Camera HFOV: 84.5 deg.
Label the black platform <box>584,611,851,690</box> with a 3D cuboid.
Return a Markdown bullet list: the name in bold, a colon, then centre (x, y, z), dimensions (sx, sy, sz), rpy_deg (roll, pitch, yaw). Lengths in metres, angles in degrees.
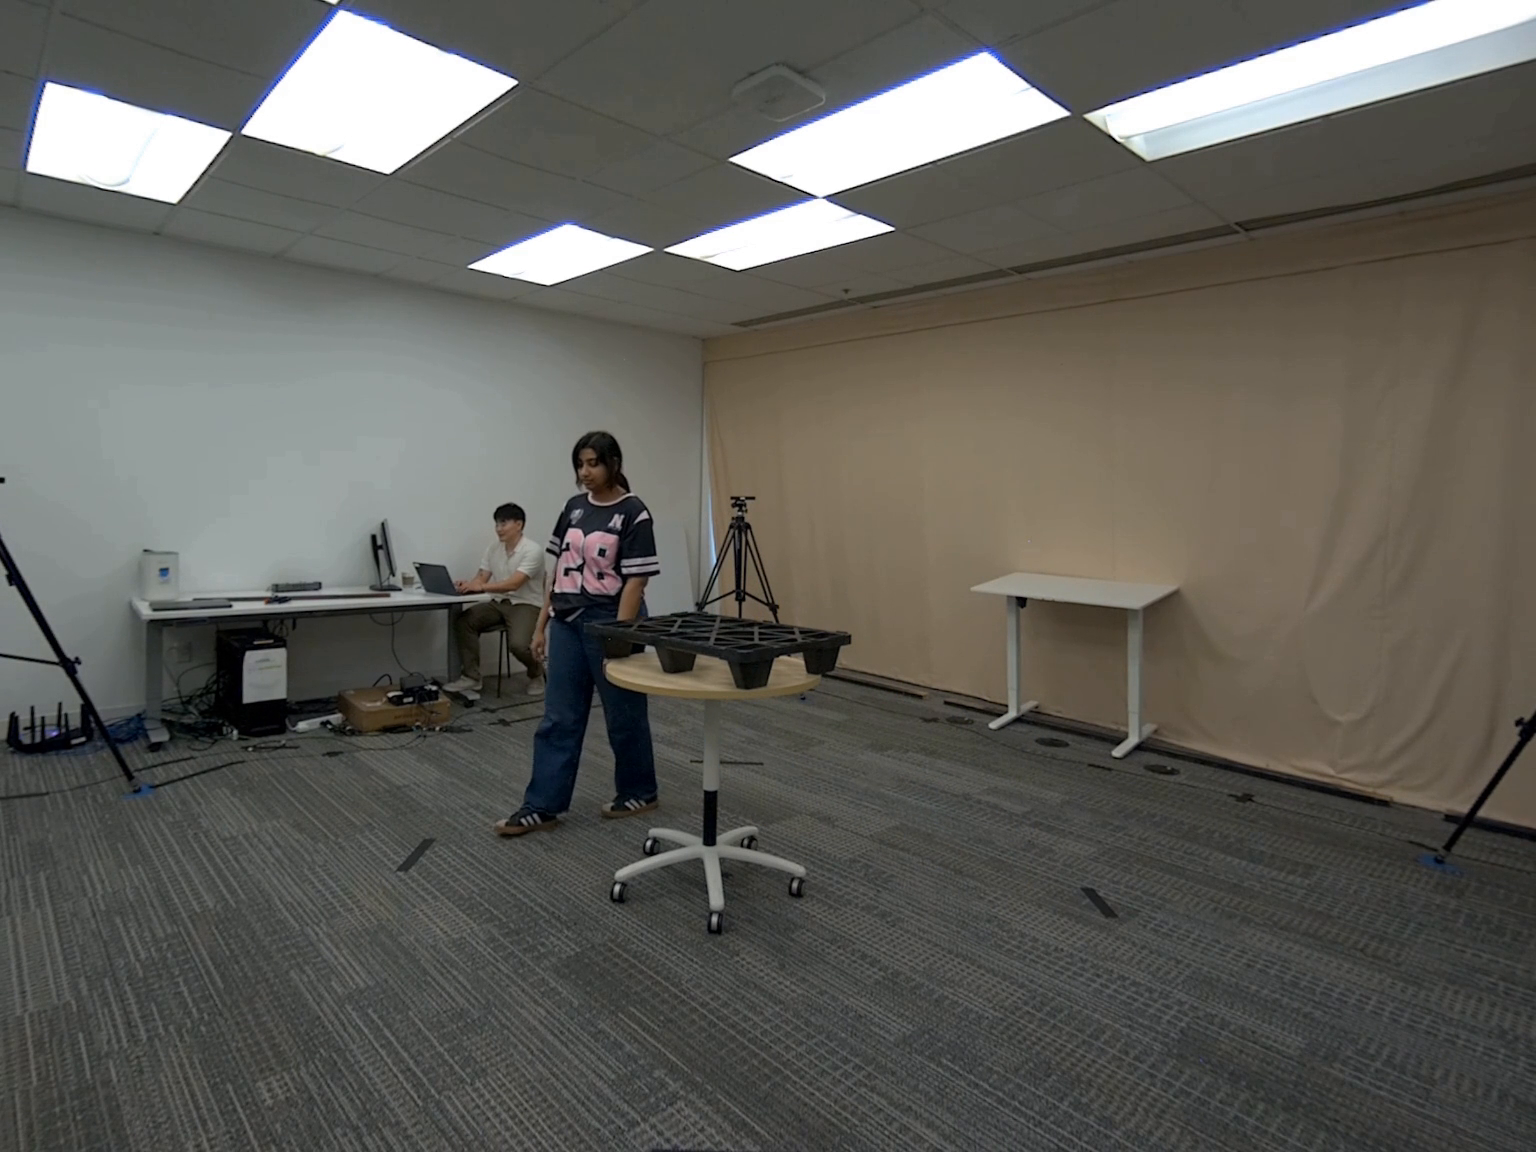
- **black platform**: centre (-0.204, 0.262, 3.068), dimensions (0.826, 0.143, 0.591), rpy_deg (5, 6, 41)
